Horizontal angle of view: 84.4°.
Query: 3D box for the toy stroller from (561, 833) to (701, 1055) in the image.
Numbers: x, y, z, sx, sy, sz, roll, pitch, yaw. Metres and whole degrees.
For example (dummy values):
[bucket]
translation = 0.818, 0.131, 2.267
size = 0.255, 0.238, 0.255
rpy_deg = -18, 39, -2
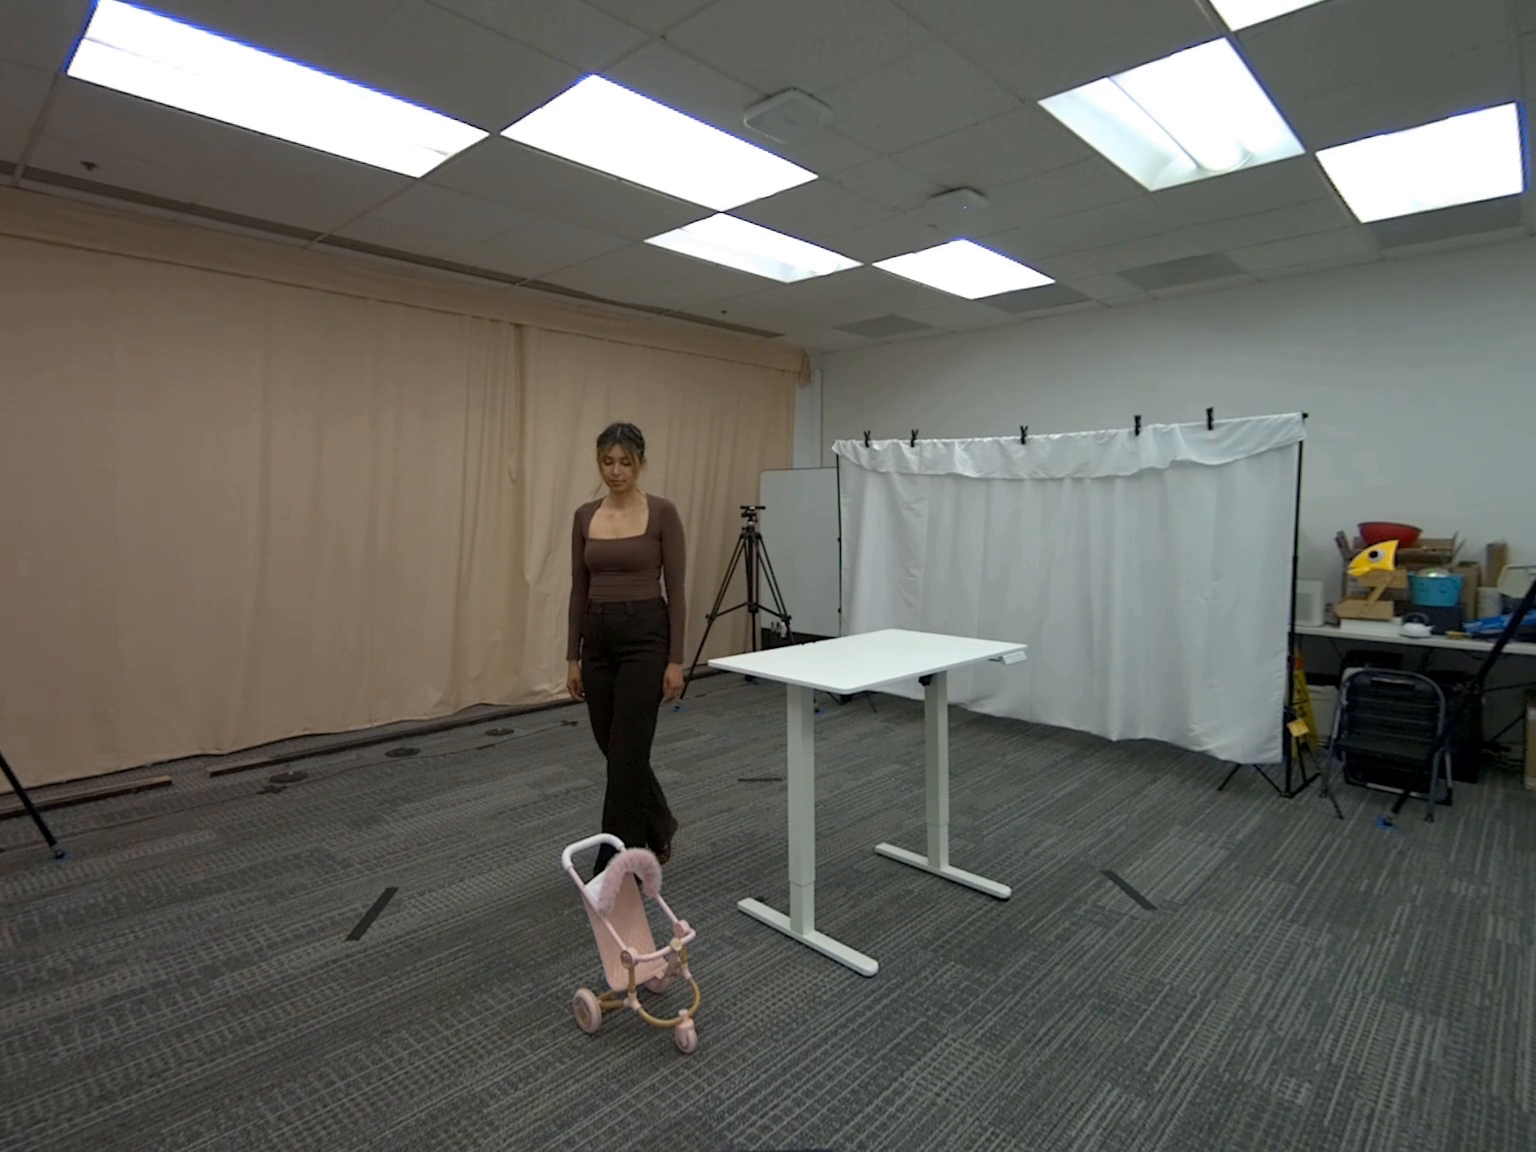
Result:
[toy stroller]
translation = -0.353, 0.981, 2.267
size = 0.273, 0.539, 0.350
rpy_deg = -3, -11, -44
